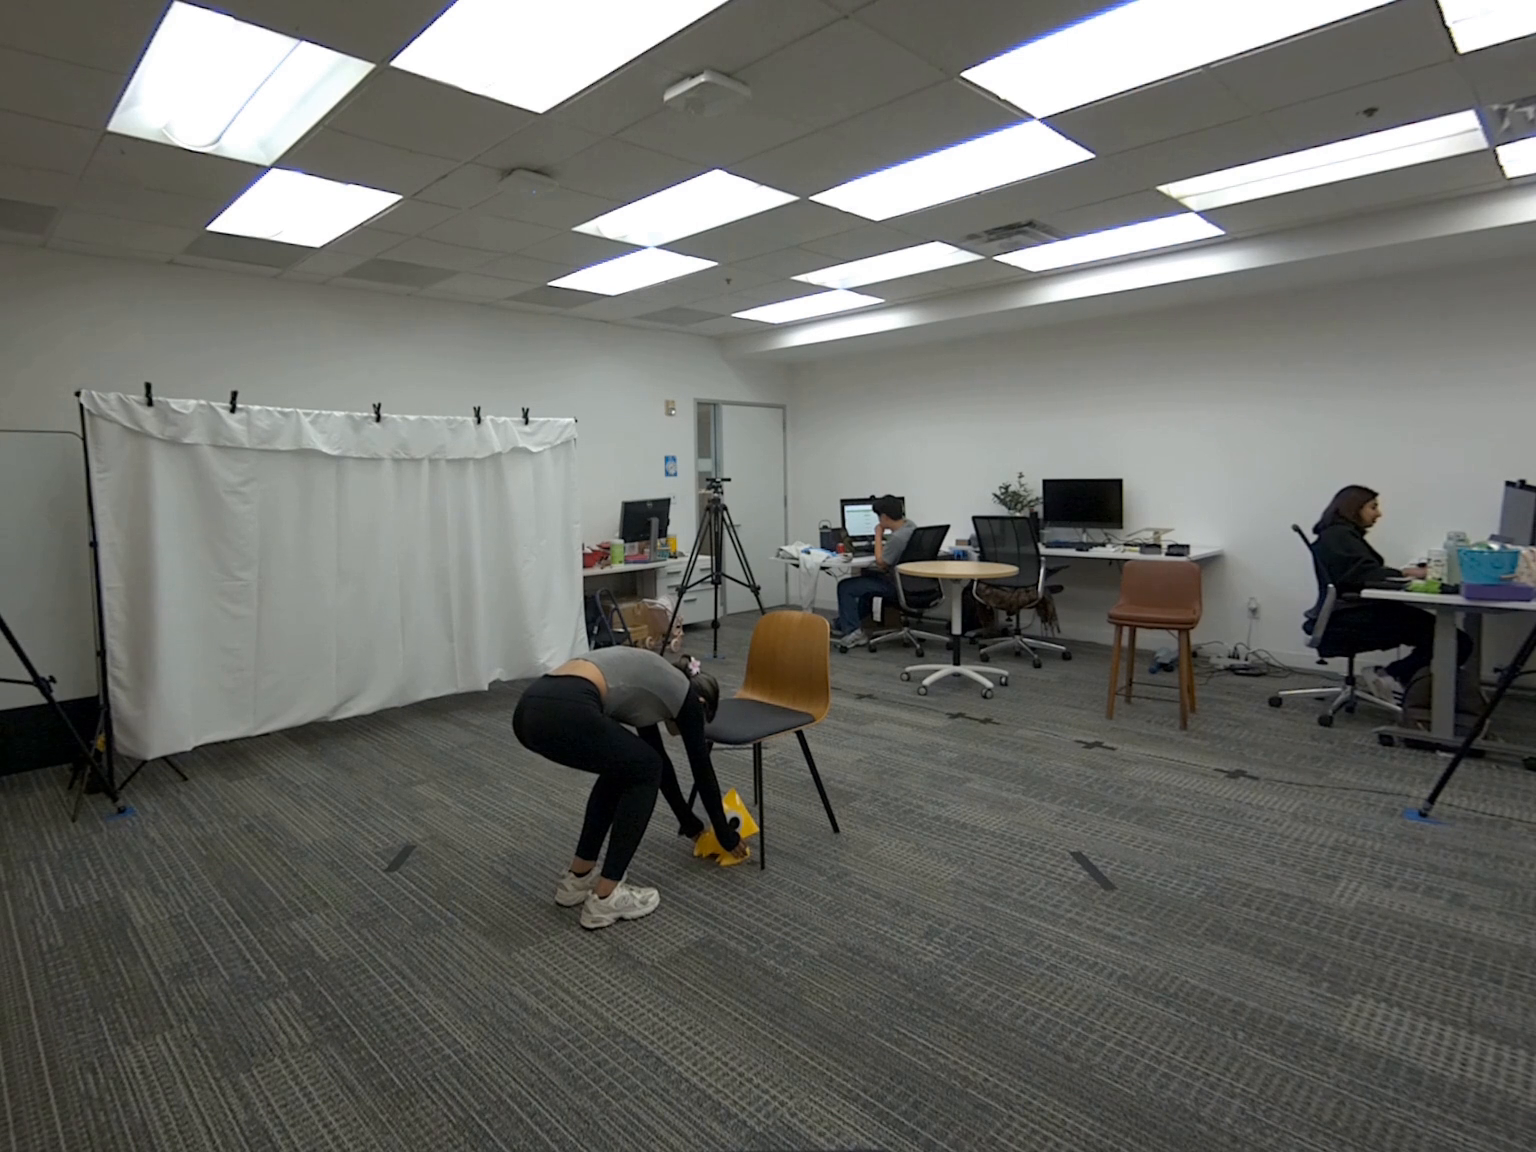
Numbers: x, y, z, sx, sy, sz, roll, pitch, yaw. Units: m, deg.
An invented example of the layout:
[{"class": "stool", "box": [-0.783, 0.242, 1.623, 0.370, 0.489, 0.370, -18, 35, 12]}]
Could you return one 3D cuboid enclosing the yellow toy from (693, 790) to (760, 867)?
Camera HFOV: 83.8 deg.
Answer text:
[{"class": "yellow toy", "box": [-0.164, 0.926, 3.186, 0.211, 0.230, 0.188, 4, 7, 40]}]
